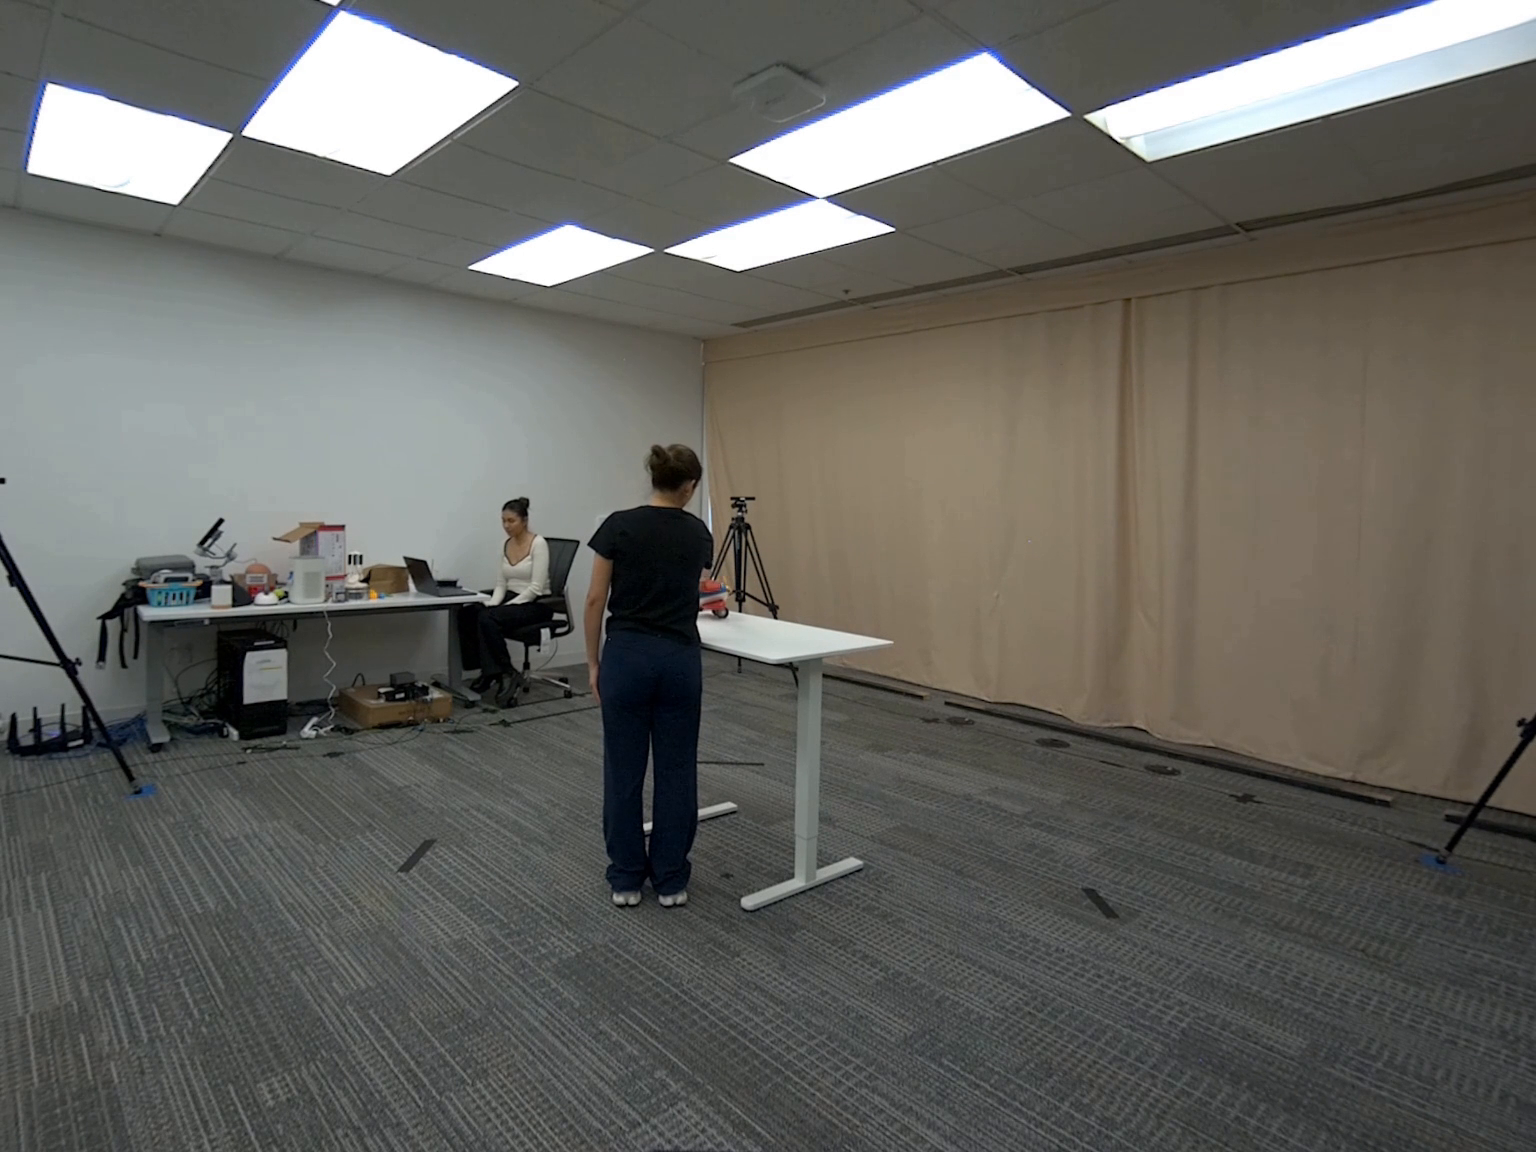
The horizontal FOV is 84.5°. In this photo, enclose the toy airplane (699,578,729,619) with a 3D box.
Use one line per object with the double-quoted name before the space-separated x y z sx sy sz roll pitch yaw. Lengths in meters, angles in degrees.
"toy airplane" -0.292 0.103 3.561 0.253 0.156 0.257 -2 5 -45
